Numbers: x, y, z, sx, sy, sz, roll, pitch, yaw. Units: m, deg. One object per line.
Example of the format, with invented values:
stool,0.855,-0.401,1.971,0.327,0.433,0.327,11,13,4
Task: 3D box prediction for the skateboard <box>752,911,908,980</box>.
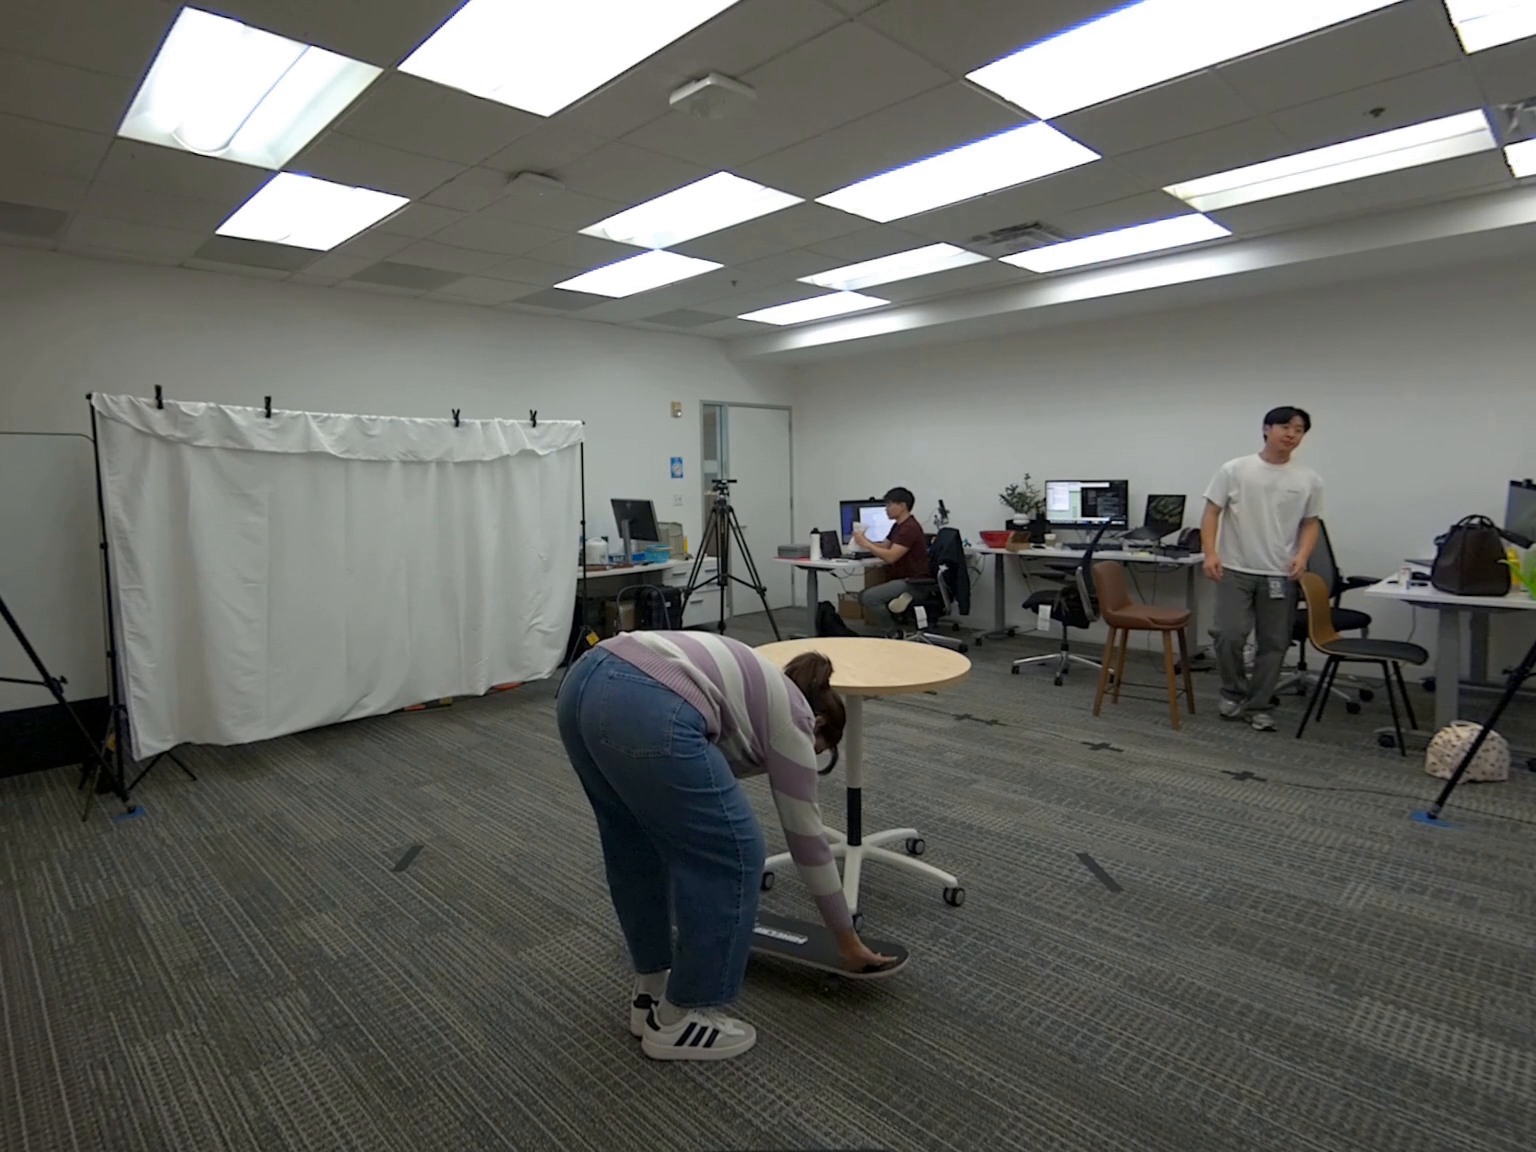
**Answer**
skateboard,0.018,1.060,2.472,0.805,0.110,0.189,2,6,27
